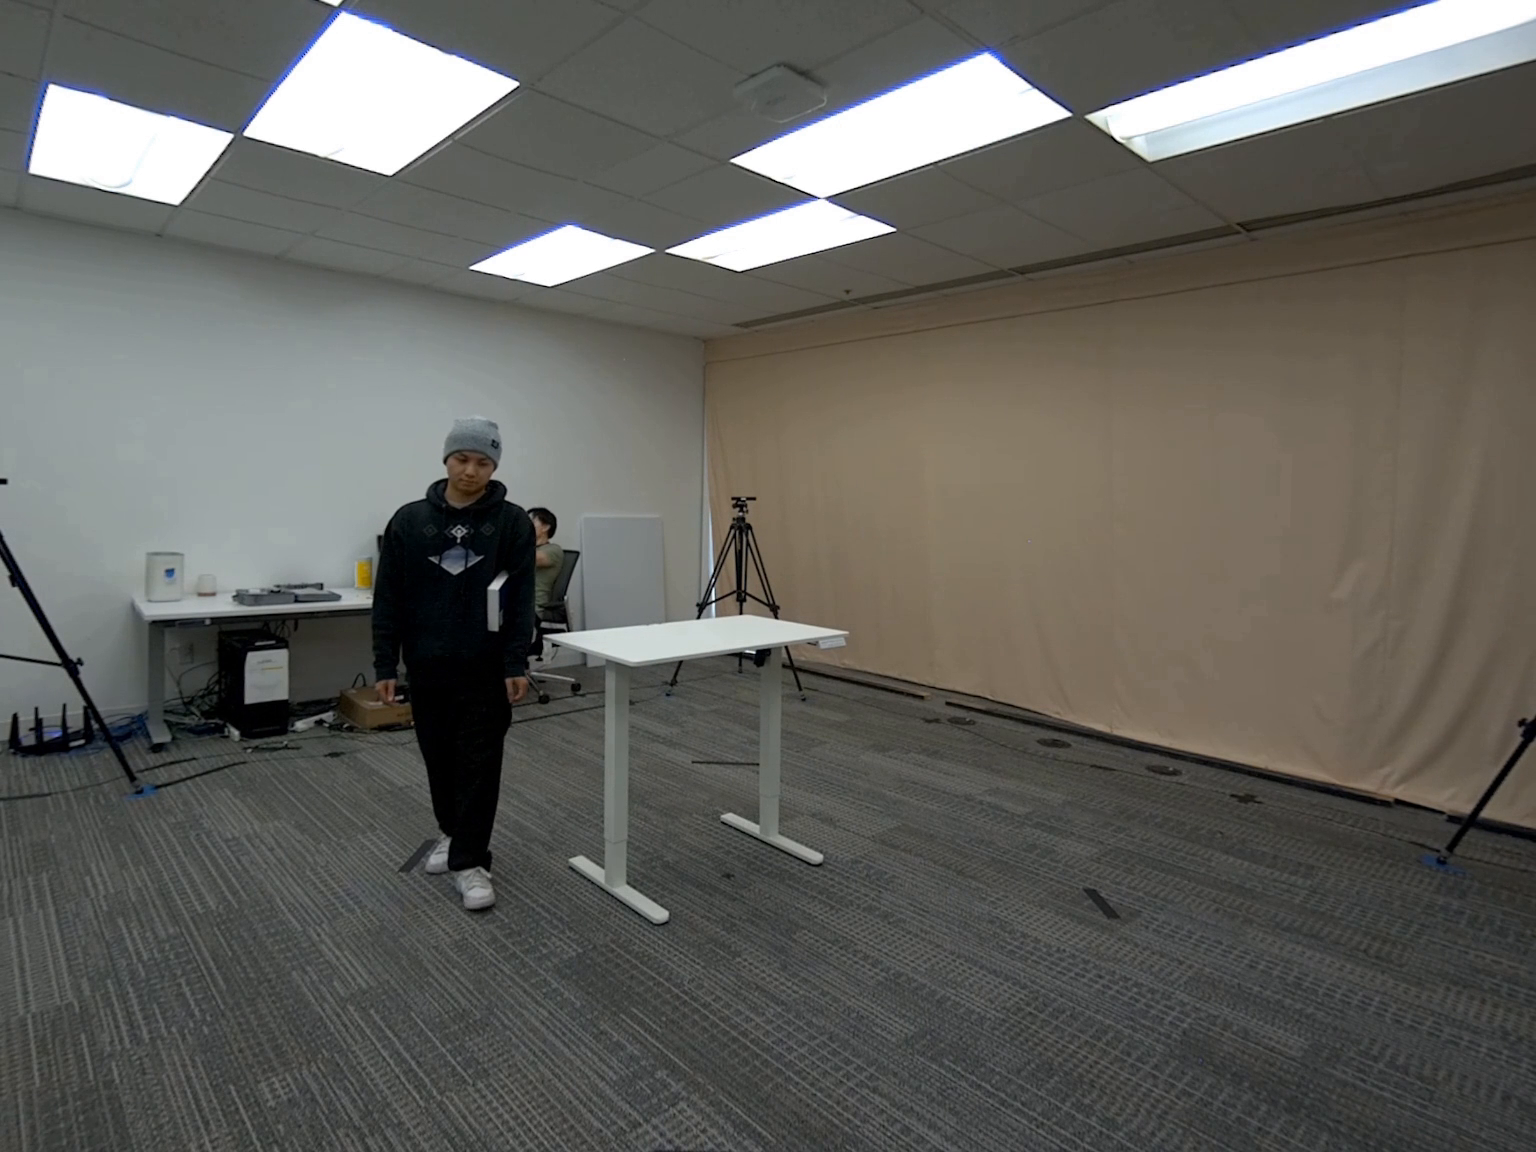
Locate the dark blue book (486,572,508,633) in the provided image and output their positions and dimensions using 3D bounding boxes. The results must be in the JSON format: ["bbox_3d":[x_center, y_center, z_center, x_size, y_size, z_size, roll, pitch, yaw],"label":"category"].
[{"bbox_3d":[-0.951,0.071,2.989,0.045,0.161,0.248,6,19,-4],"label":"dark blue book"}]
